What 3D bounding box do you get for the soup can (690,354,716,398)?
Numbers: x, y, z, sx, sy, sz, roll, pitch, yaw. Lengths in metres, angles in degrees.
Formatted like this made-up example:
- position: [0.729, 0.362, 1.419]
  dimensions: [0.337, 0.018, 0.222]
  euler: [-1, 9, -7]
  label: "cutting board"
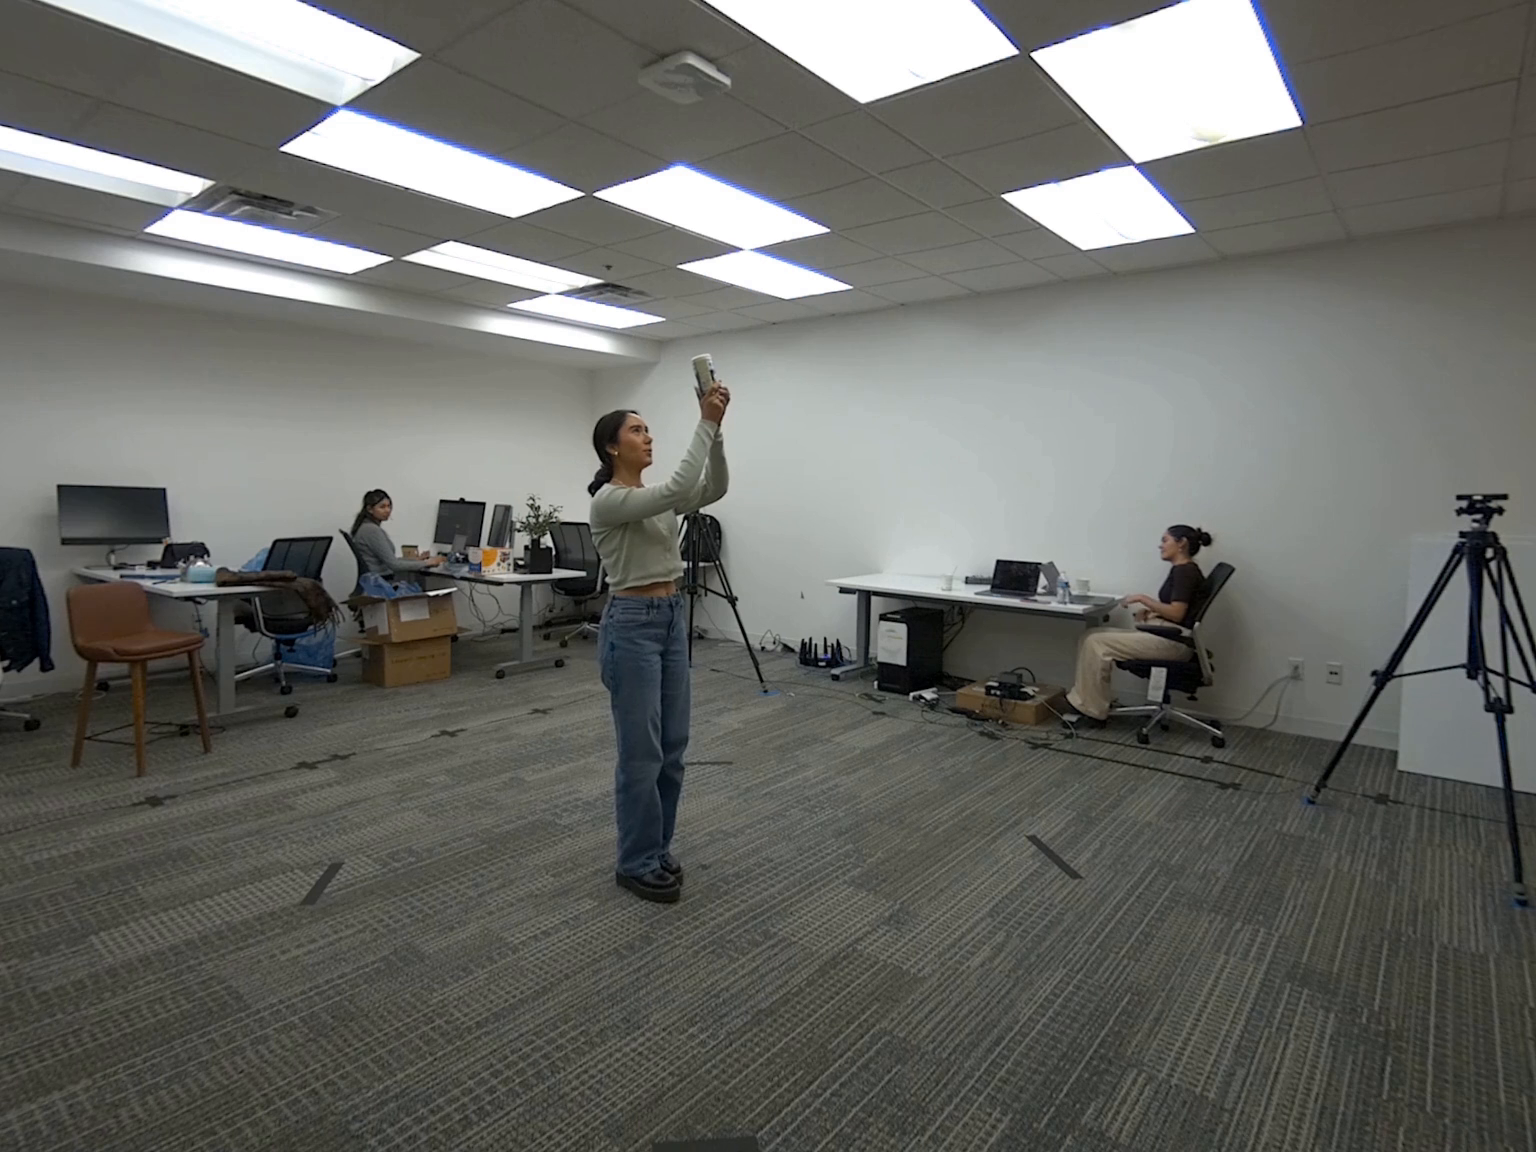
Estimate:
- position: [-0.211, -0.654, 2.749]
  dimensions: [0.067, 0.121, 0.067]
  euler: [-10, 2, -1]
  label: "soup can"
